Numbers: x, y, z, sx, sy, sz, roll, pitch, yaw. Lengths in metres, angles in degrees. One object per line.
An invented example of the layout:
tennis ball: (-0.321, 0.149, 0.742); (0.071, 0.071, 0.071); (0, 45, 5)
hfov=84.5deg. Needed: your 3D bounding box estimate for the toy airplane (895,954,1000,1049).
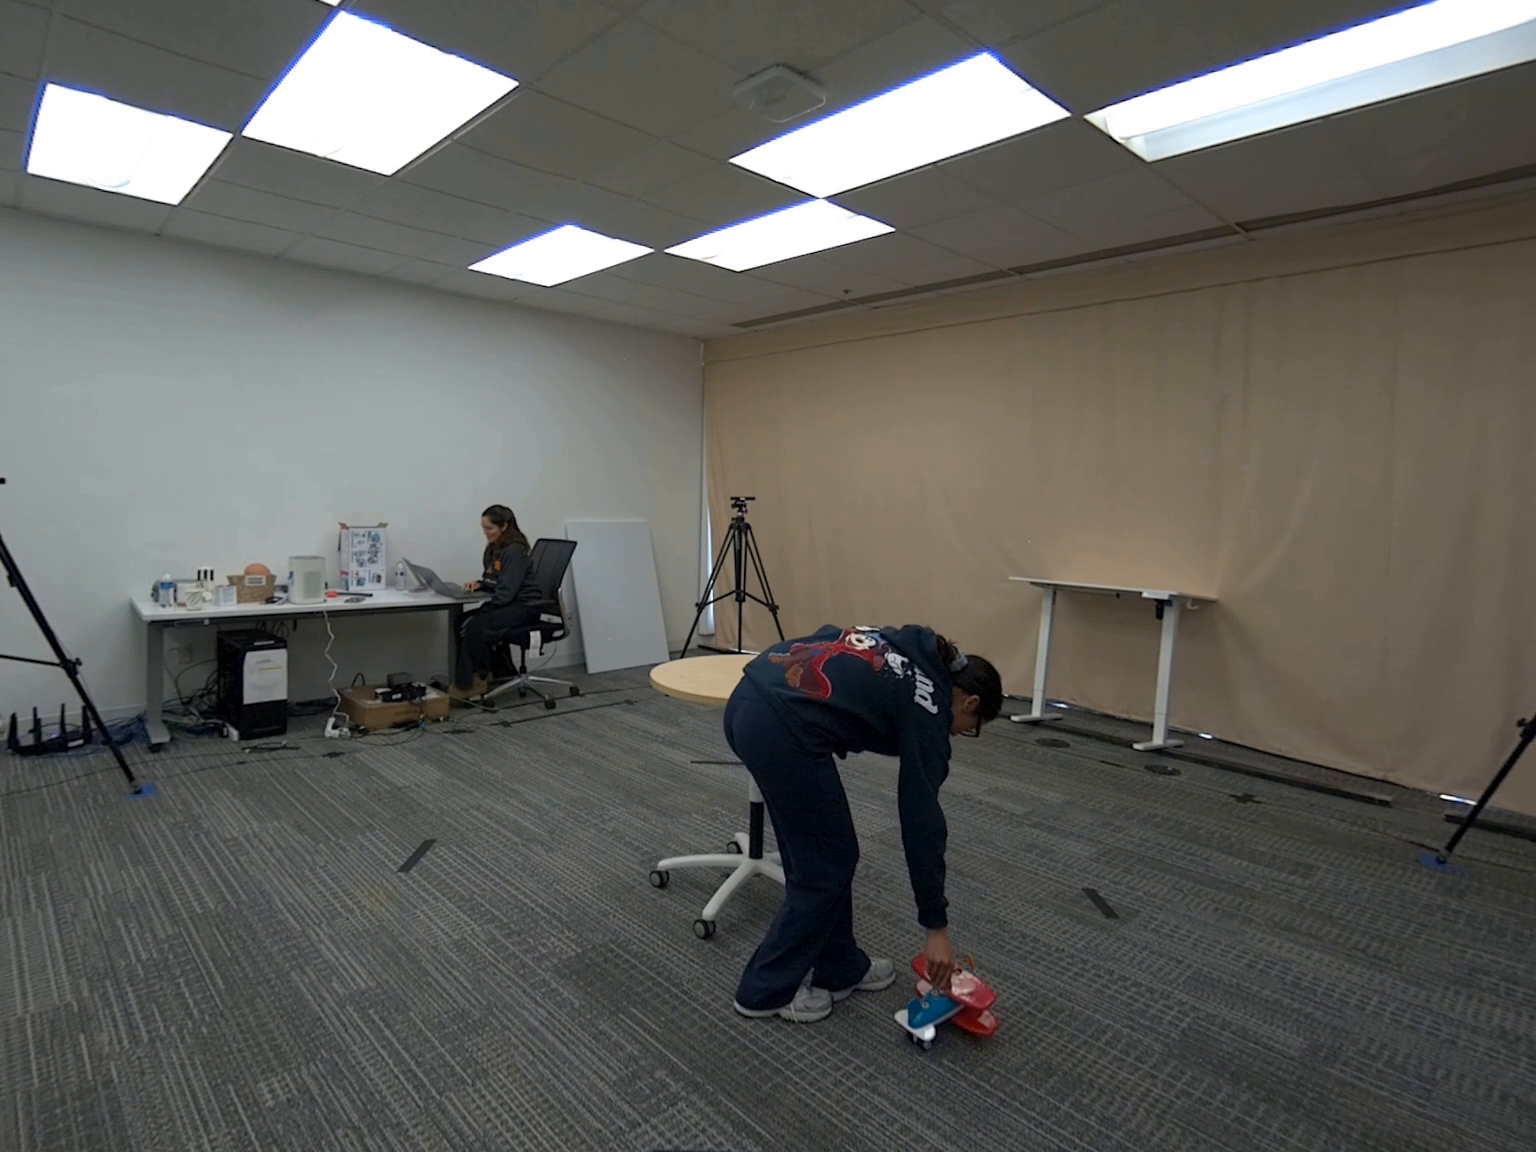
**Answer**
toy airplane: (0.473, 1.134, 2.202); (0.256, 0.156, 0.255); (3, 4, 26)
